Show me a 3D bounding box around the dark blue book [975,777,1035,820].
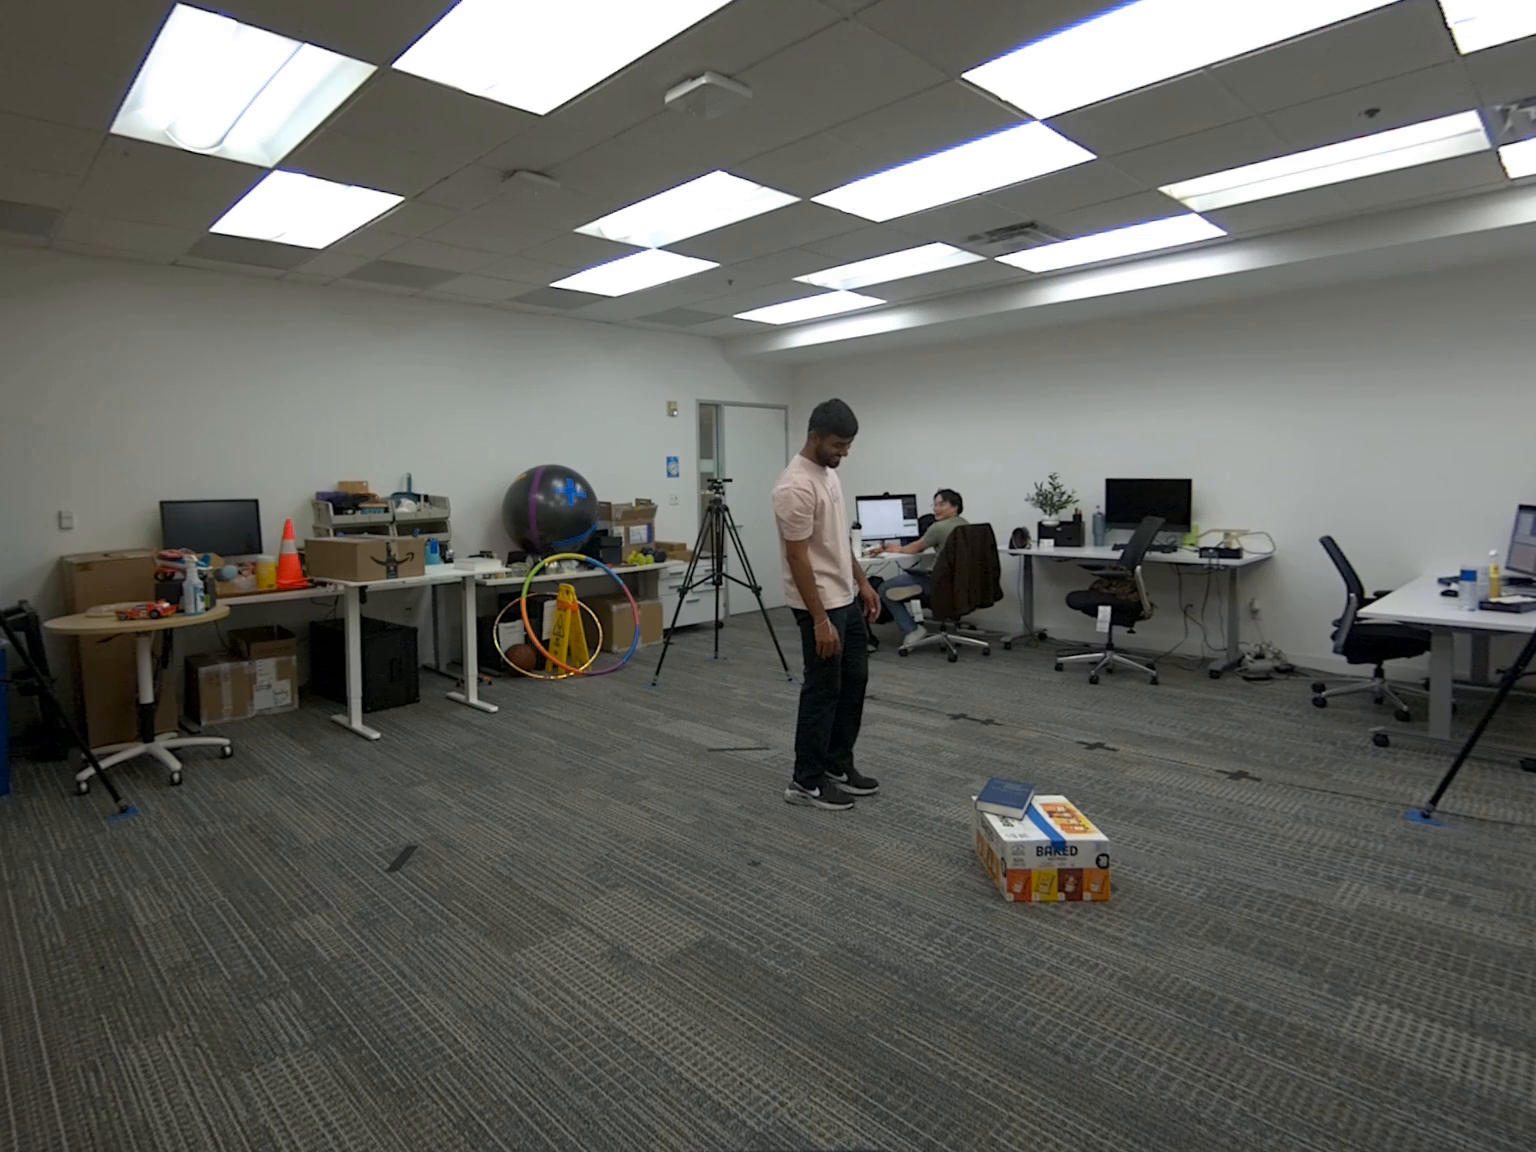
[{"bbox_3d":[0.868,0.805,3.111,0.167,0.045,0.240,5,9,27],"label":"dark blue book"}]
